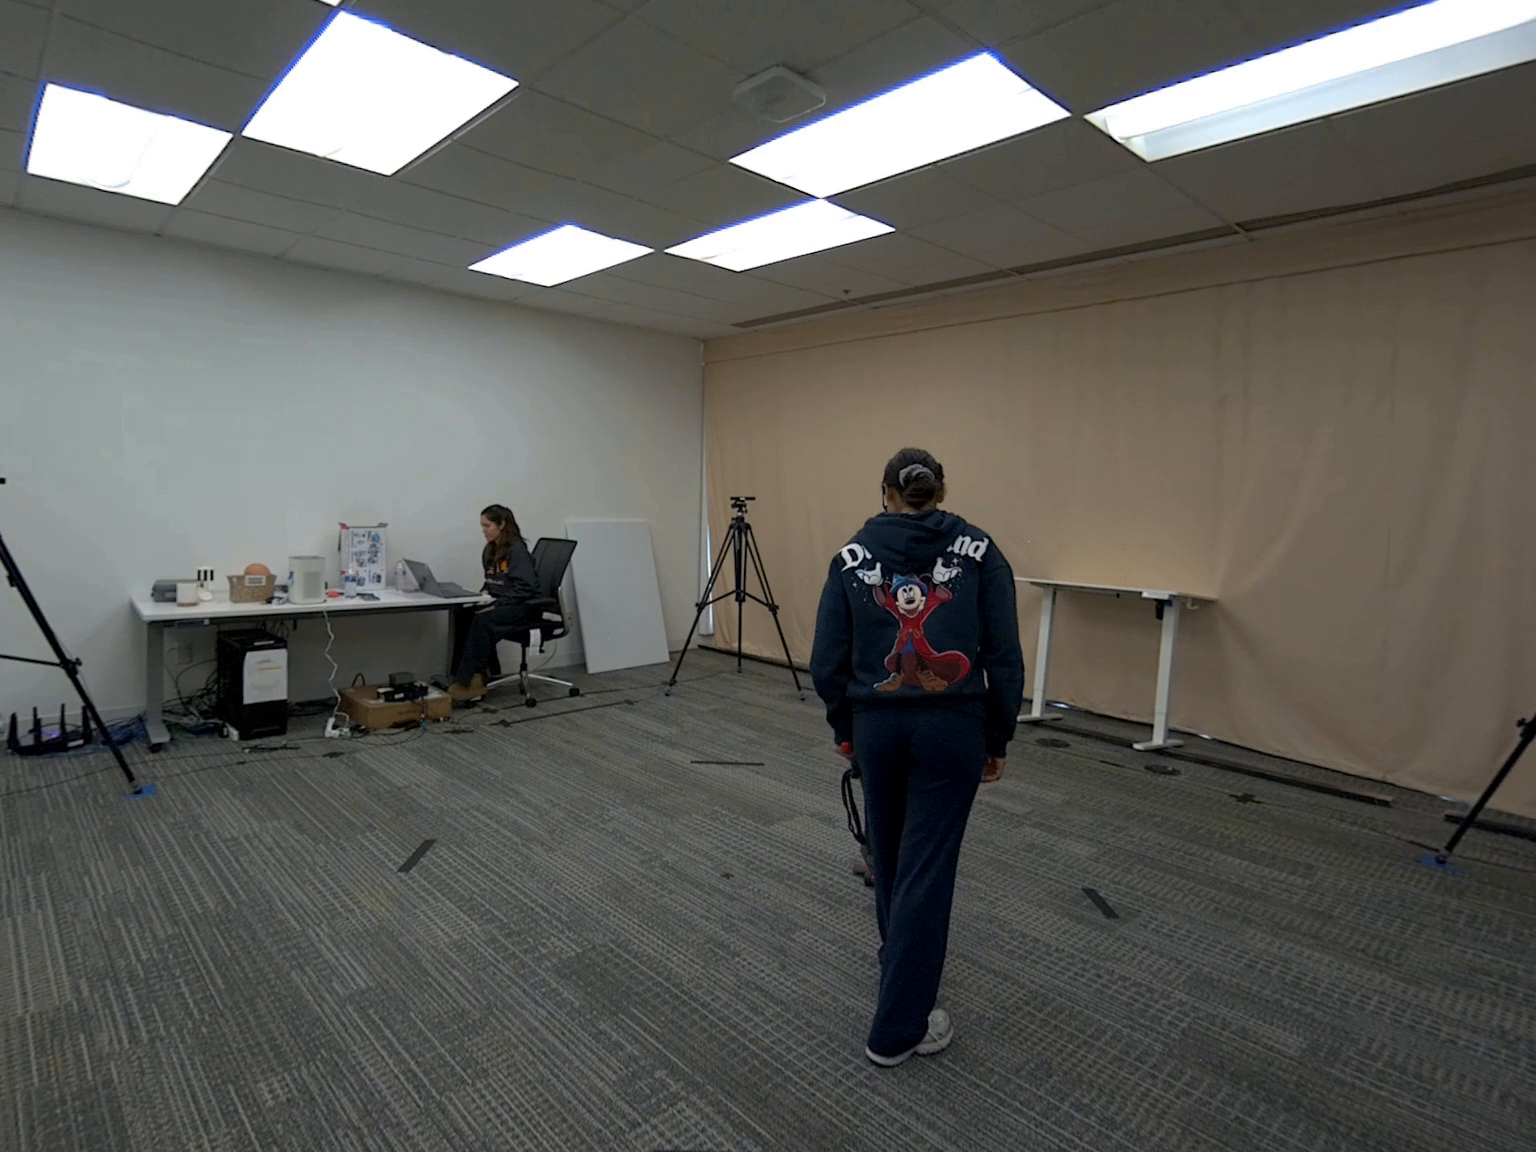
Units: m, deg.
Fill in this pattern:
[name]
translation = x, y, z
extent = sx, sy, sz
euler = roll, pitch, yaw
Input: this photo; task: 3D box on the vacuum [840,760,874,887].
[vacuum]
translation = 0.321, 0.793, 2.716
extent = 0.256, 0.146, 1.019
euler = 2, -38, 17
